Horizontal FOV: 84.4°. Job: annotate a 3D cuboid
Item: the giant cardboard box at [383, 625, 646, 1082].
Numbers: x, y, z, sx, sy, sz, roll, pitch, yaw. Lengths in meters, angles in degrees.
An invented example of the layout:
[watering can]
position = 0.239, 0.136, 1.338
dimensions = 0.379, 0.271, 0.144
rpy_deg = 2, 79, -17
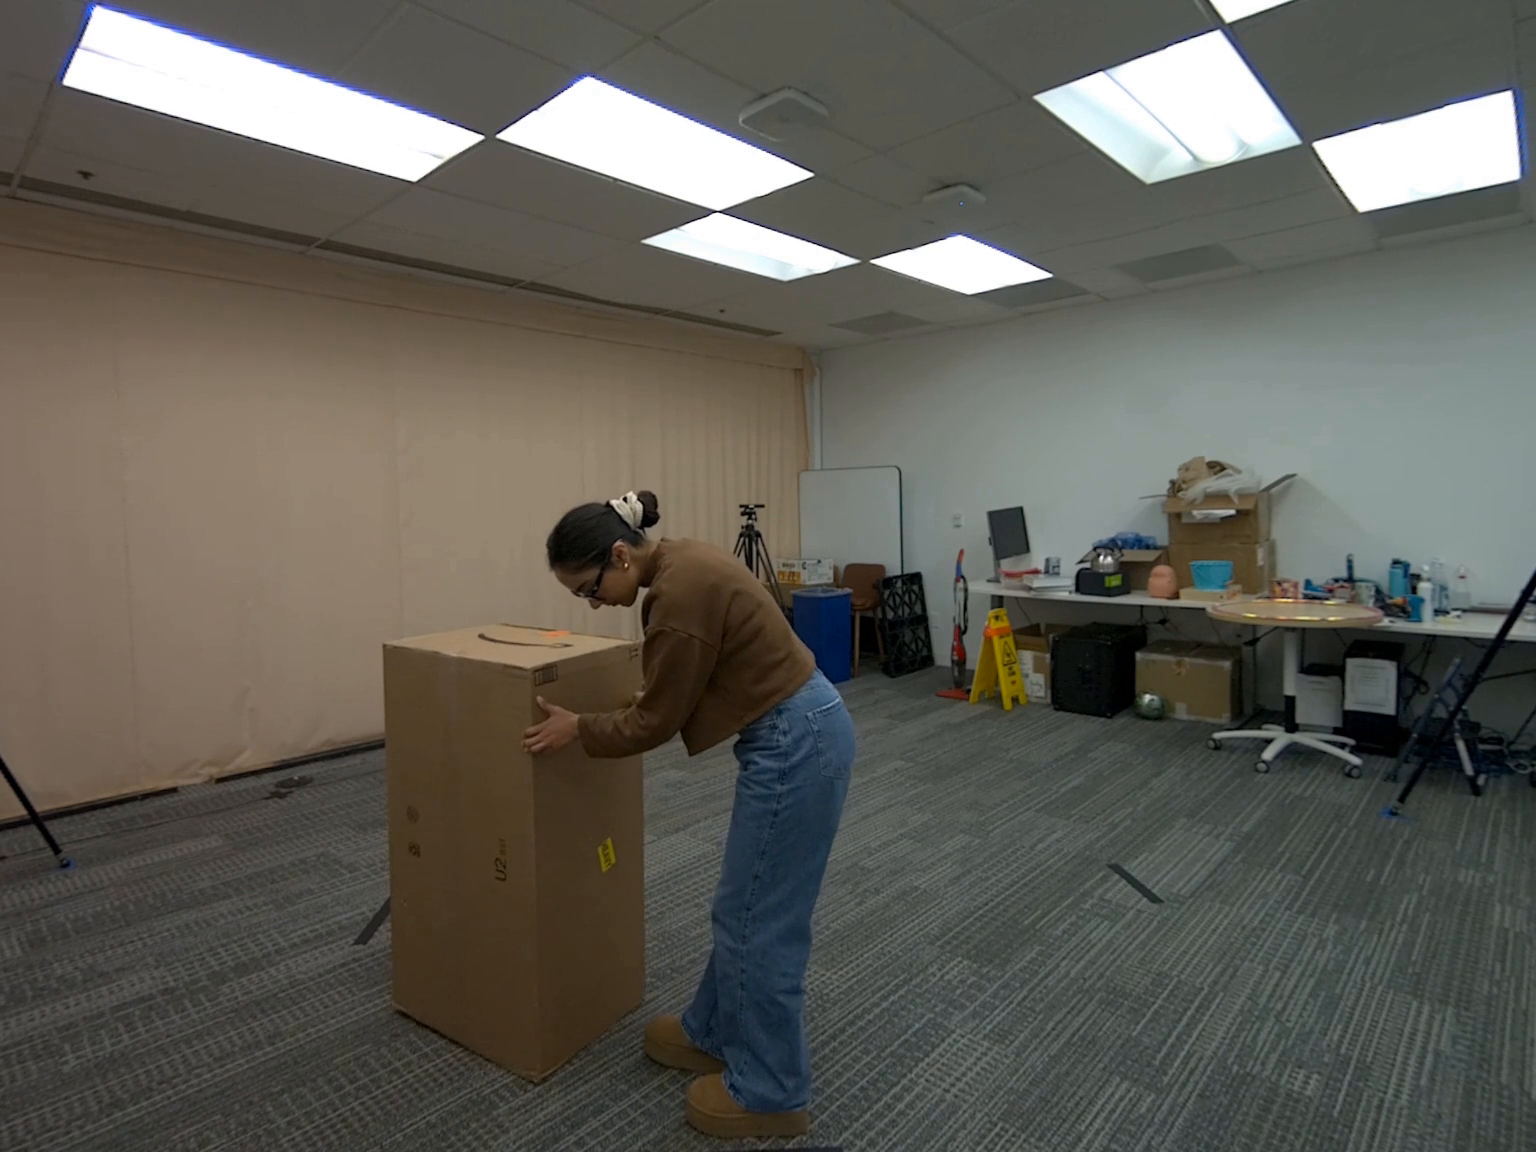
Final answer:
[giant cardboard box]
position = -0.693, 0.695, 2.342
dimensions = 0.595, 1.024, 0.414
rpy_deg = 2, 4, 33
